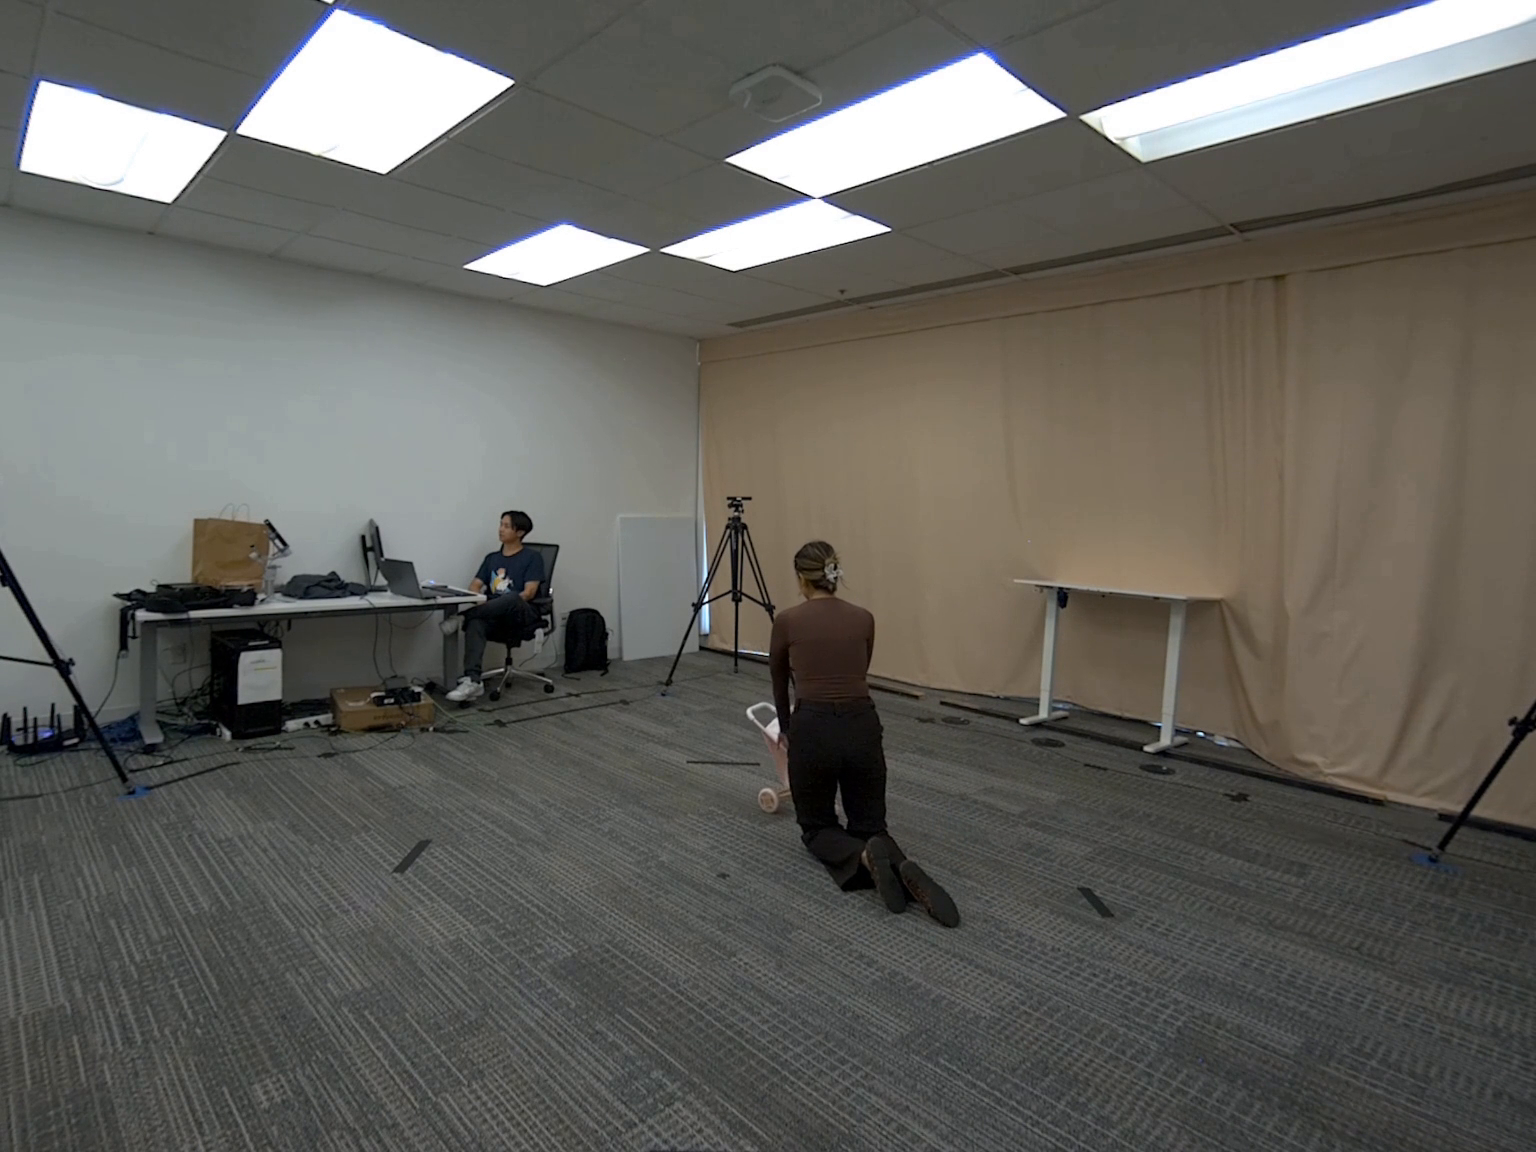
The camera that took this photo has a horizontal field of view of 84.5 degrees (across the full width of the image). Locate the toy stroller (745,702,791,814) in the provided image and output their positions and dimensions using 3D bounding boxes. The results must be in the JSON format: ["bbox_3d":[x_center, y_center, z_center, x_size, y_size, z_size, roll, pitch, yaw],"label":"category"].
[{"bbox_3d":[0.123,0.828,3.799,0.347,0.538,0.275,-14,-6,37],"label":"toy stroller"}]
